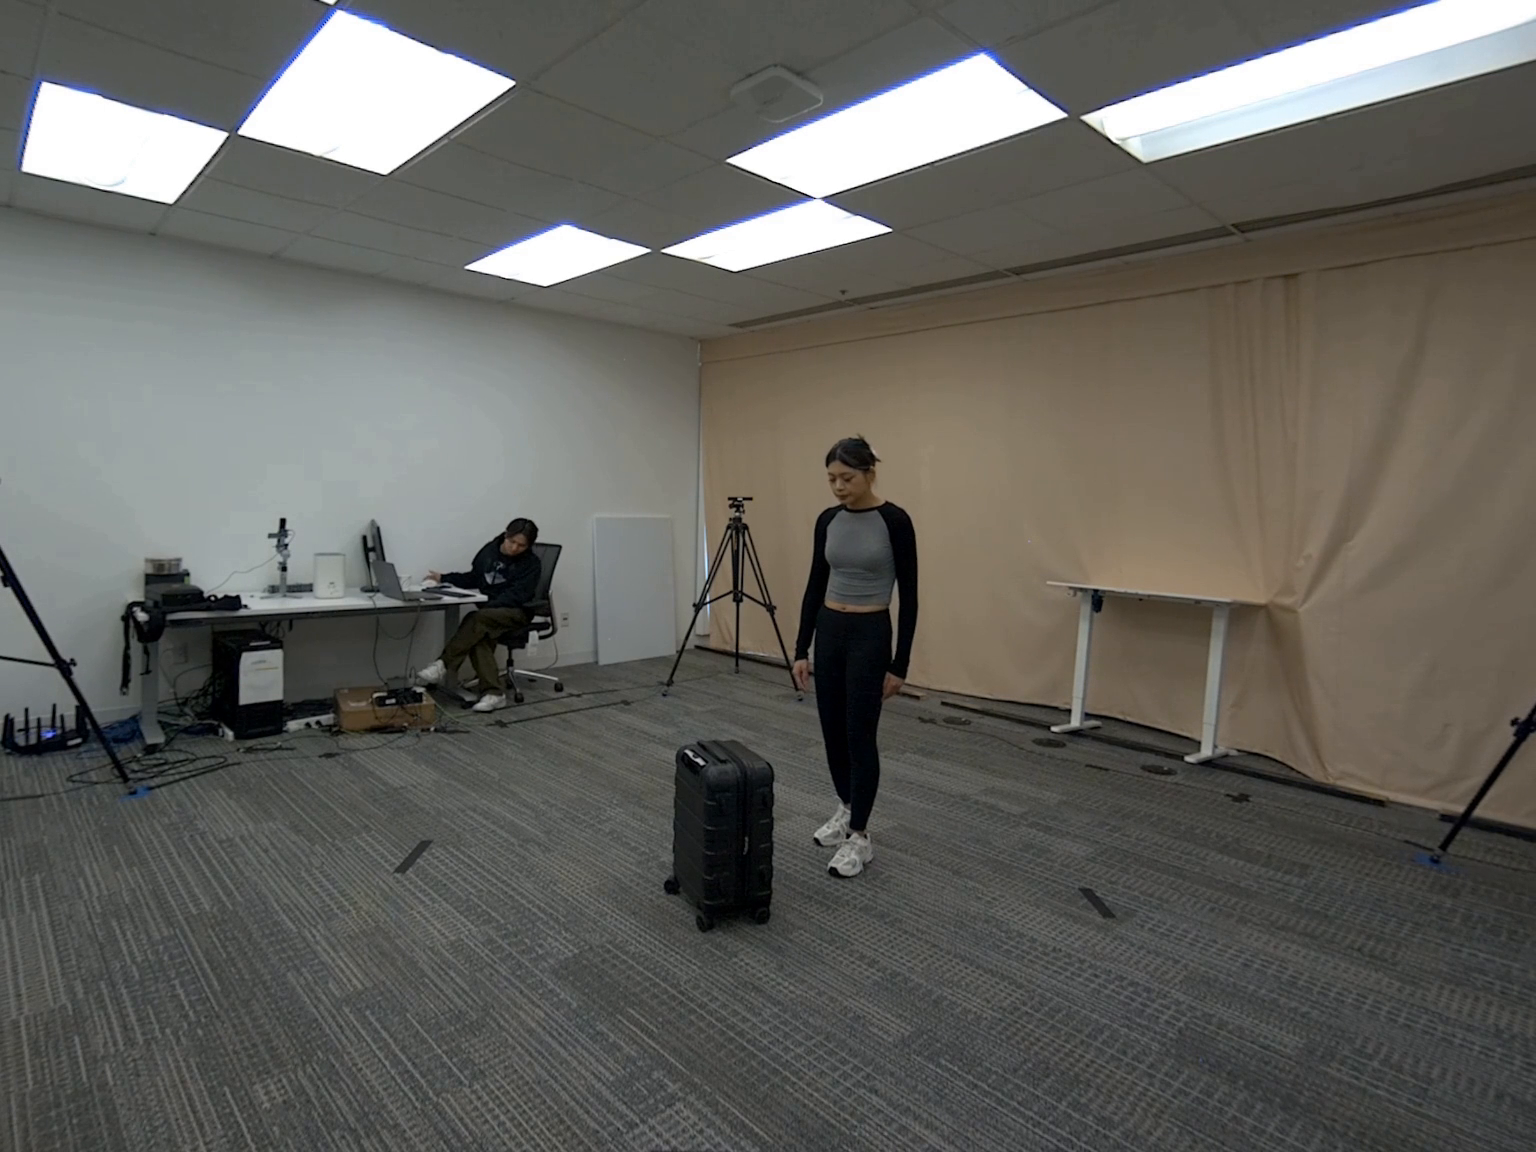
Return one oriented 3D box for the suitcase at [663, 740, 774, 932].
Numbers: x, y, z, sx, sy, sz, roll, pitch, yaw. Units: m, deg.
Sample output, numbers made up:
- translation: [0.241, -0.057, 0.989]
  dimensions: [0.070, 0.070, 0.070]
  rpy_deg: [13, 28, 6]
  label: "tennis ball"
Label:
- translation: [-0.162, 0.851, 2.863]
  dimensions: [0.244, 0.548, 0.383]
  rpy_deg: [1, 3, -25]
  label: "suitcase"
